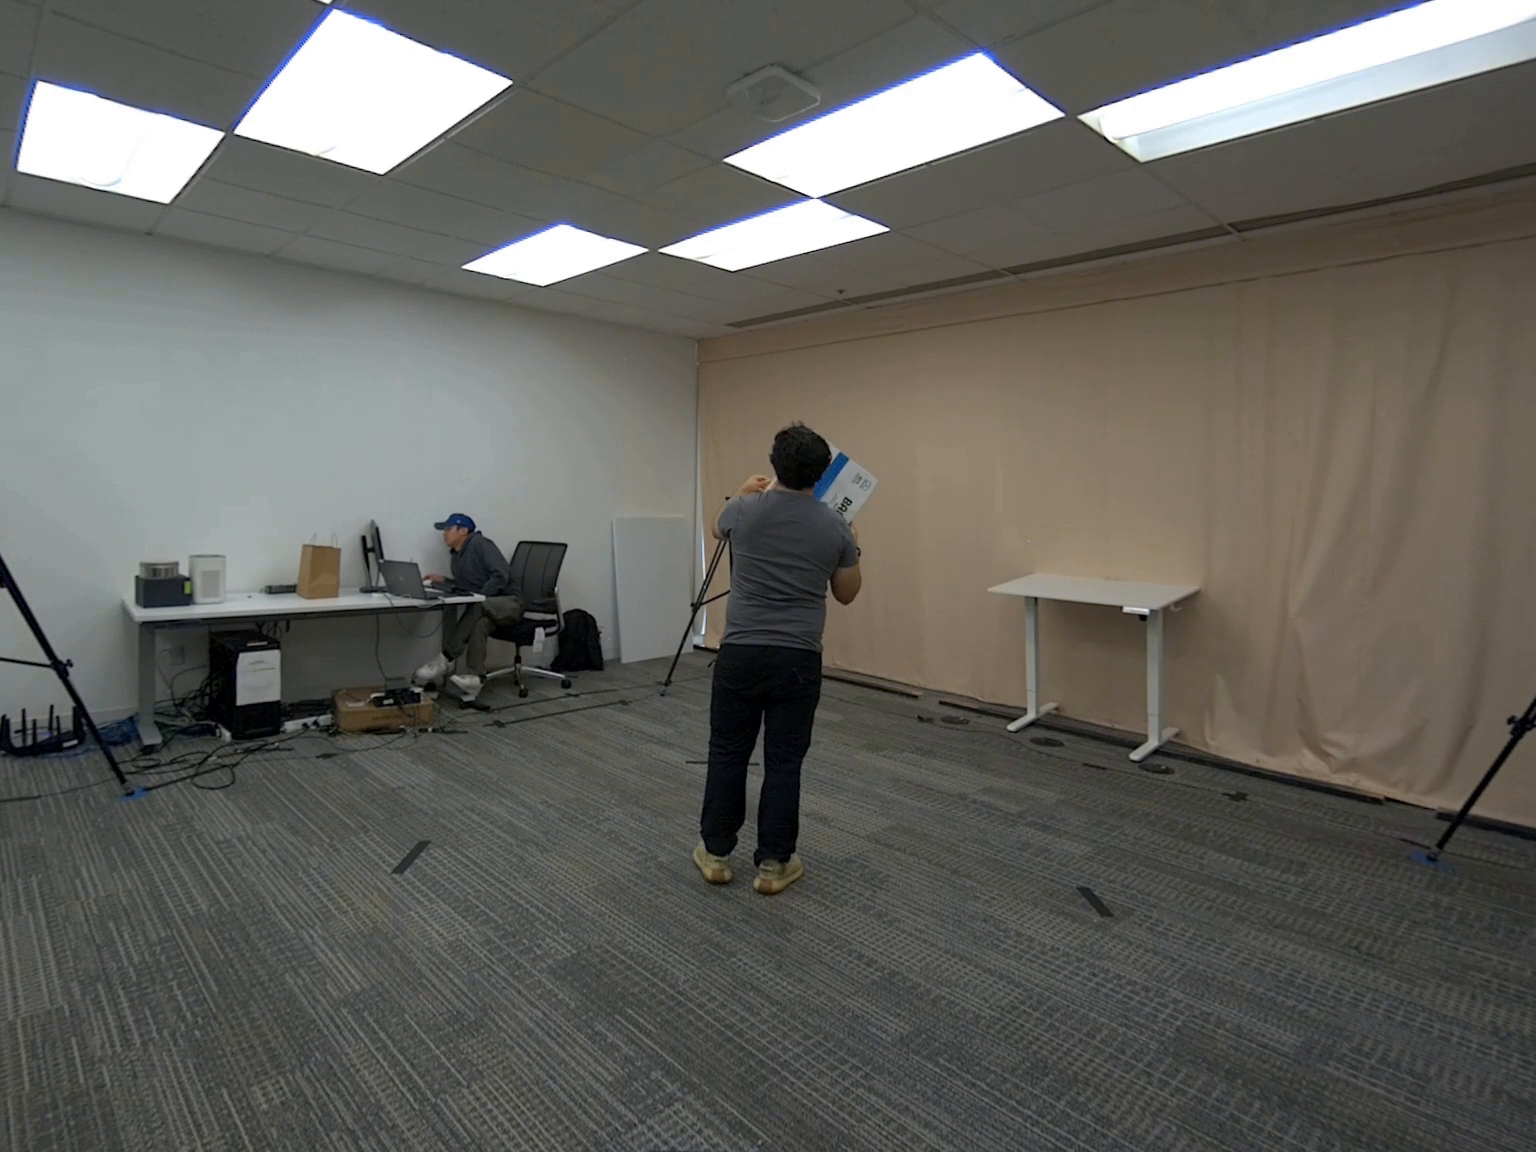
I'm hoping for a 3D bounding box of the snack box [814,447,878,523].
[{"bbox_3d":[0.171,-0.321,3.405,0.338,0.405,0.207,36,1,-6],"label":"snack box"}]
